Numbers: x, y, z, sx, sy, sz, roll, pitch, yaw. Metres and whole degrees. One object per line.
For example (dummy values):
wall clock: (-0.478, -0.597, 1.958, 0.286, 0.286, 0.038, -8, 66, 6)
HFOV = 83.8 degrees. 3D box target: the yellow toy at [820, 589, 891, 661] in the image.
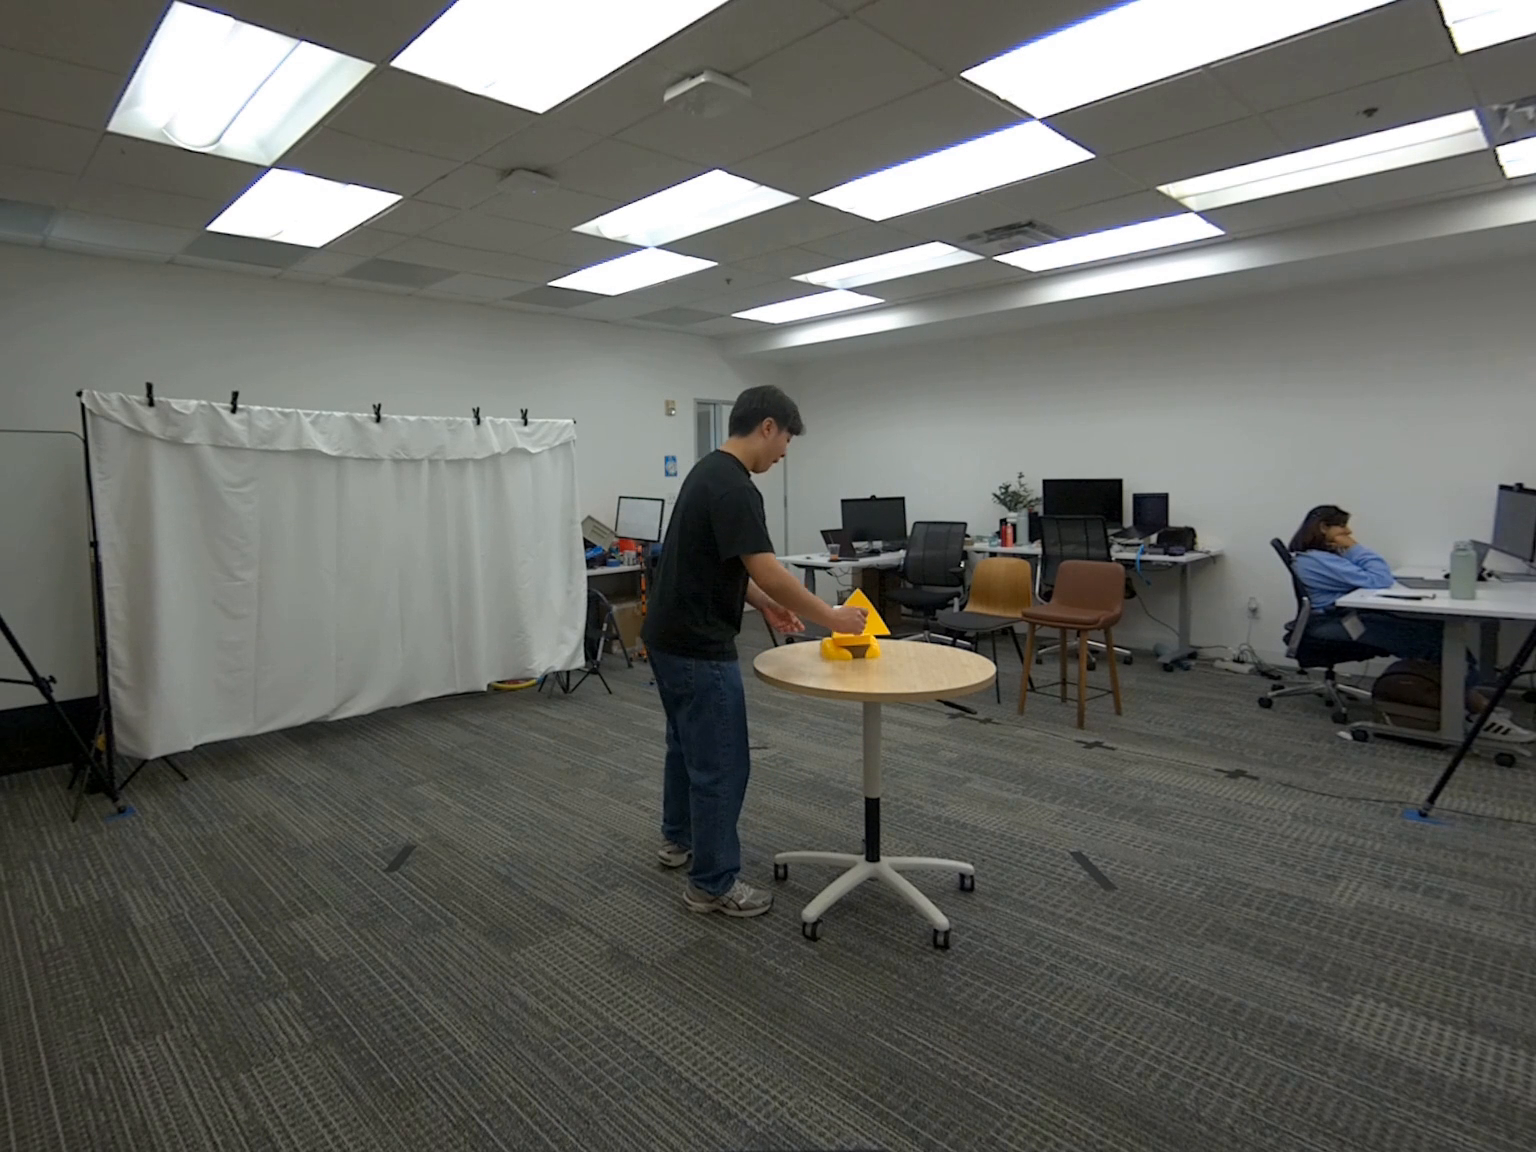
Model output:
yellow toy: (0.276, 0.151, 2.874, 0.202, 0.230, 0.197, -2, 4, -17)
